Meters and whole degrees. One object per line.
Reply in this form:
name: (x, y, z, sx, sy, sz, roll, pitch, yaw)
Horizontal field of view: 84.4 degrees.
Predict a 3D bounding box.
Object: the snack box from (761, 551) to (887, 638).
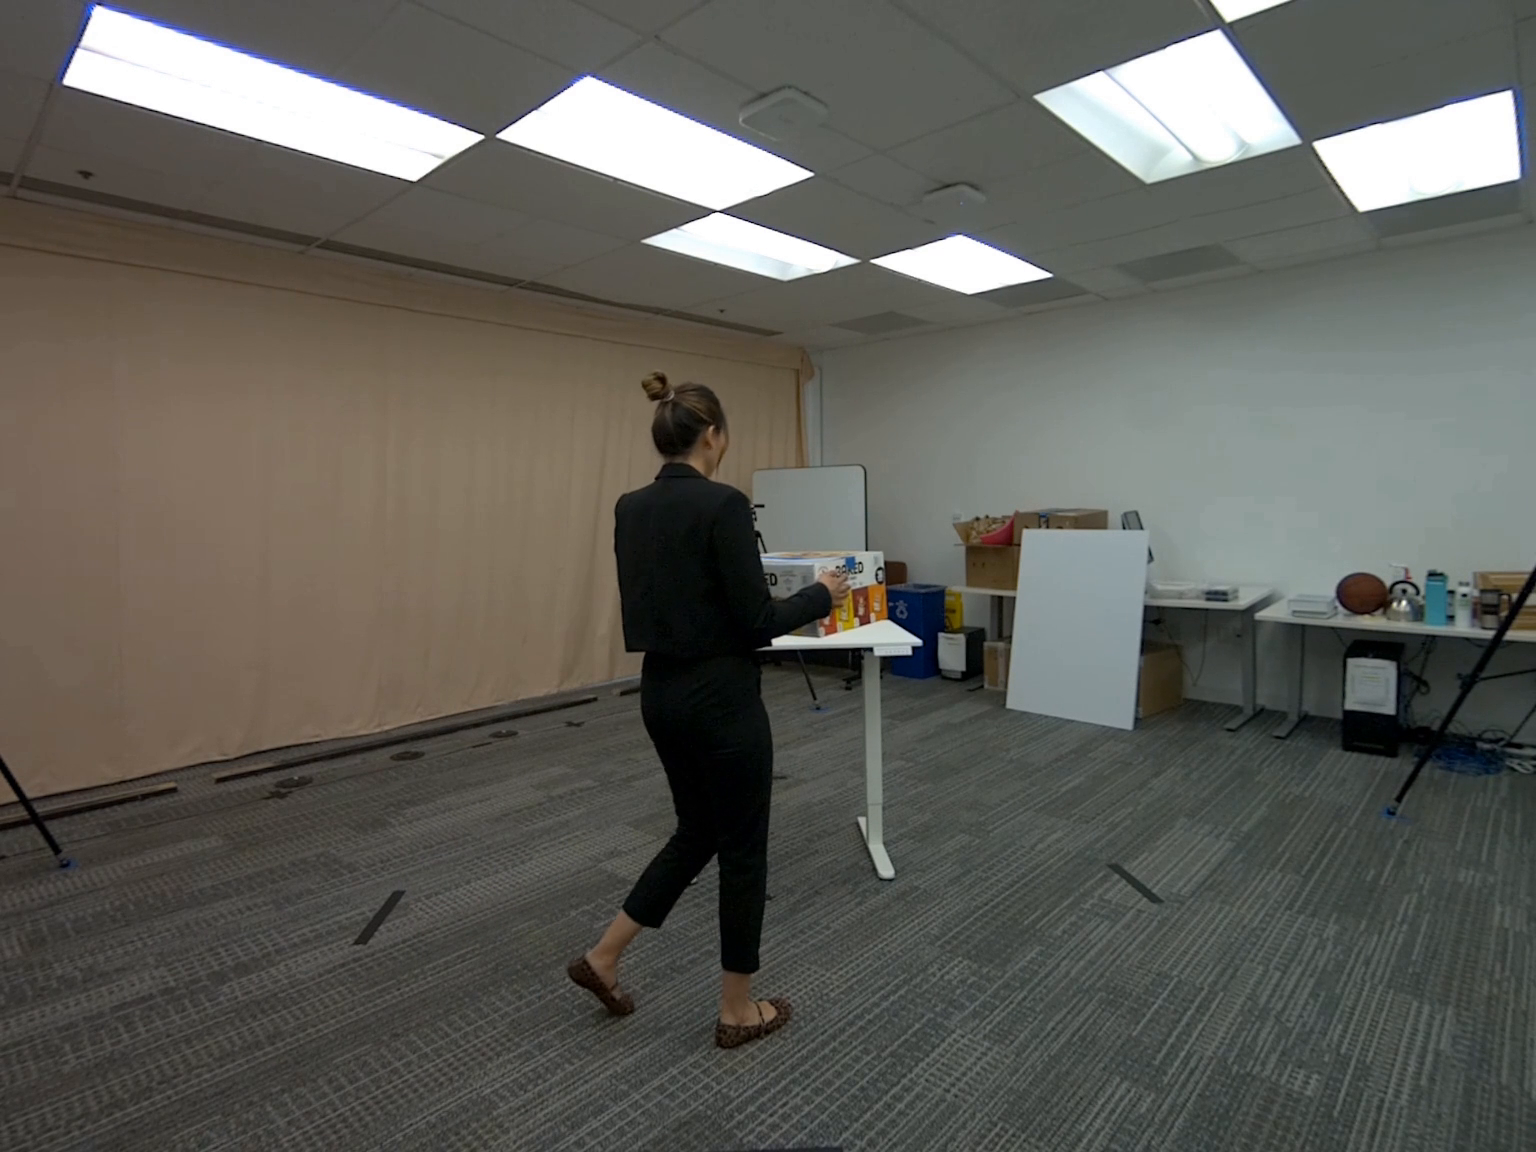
snack box: (0.075, 0.049, 2.493, 0.418, 0.205, 0.330, 0, 6, 41)
